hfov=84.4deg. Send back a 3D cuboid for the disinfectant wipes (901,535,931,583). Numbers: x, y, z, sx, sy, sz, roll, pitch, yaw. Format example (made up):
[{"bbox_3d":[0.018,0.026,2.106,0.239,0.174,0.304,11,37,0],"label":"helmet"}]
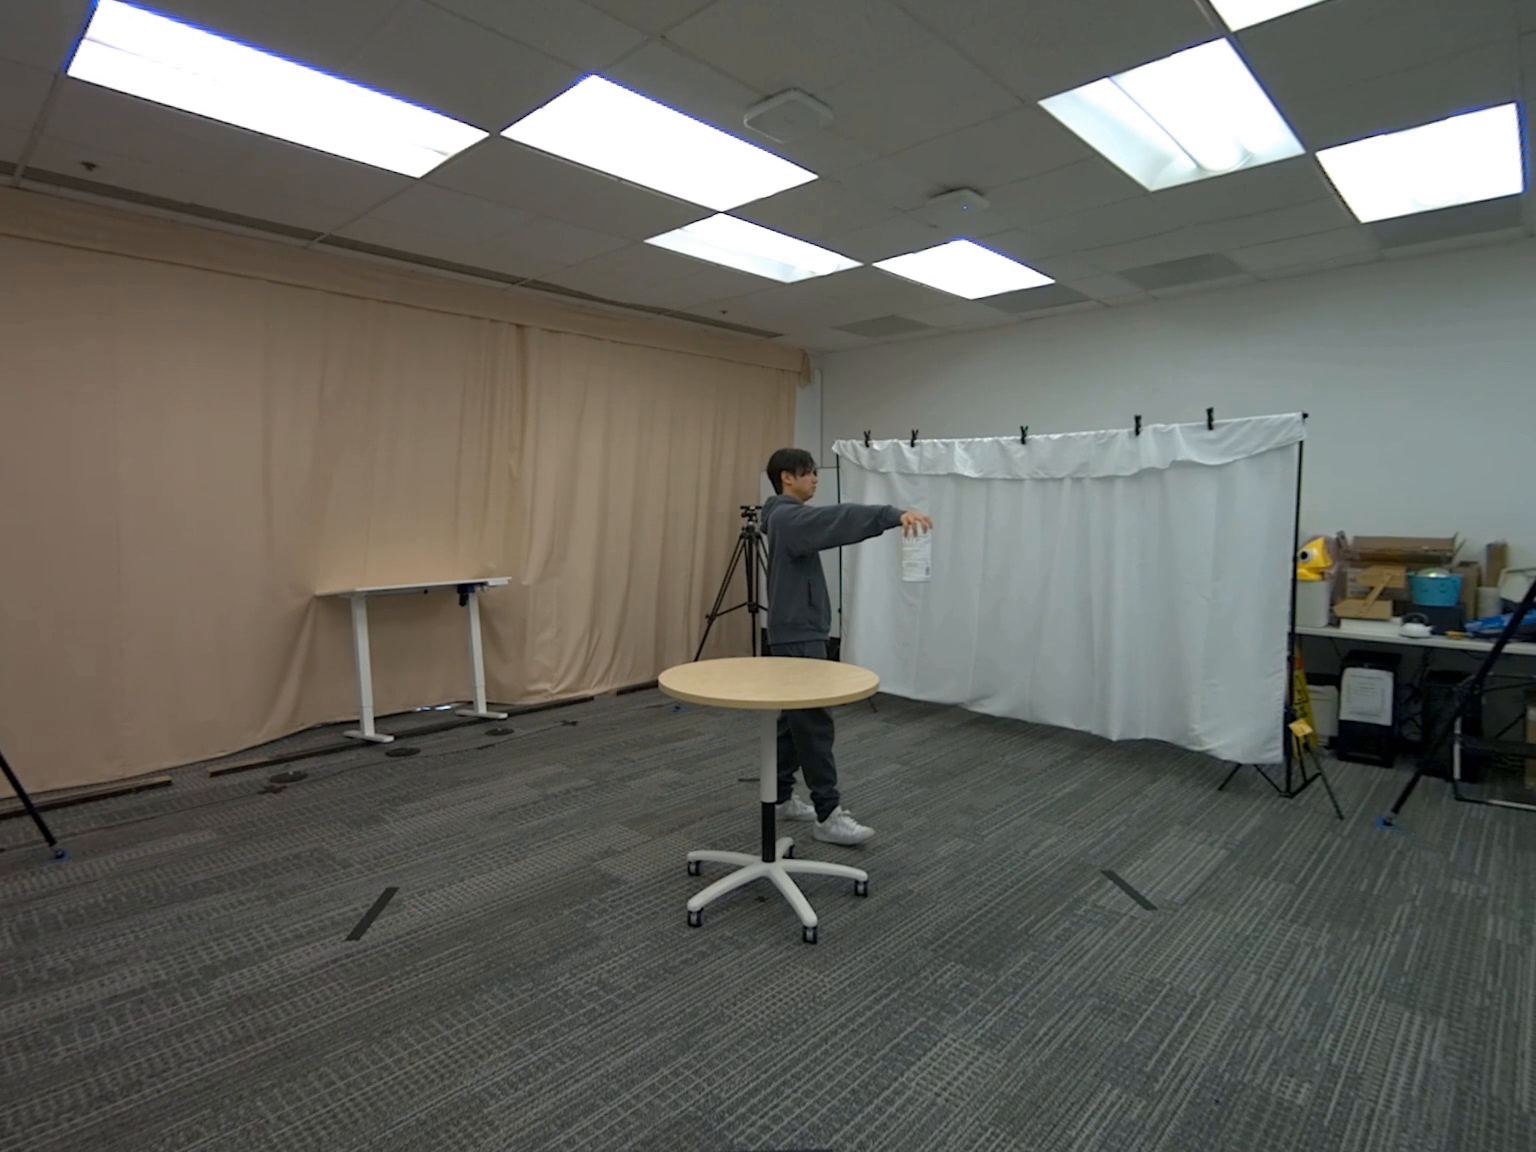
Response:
[{"bbox_3d":[0.564,-0.083,3.151,0.118,0.217,0.118,1,5,-2],"label":"disinfectant wipes"}]
